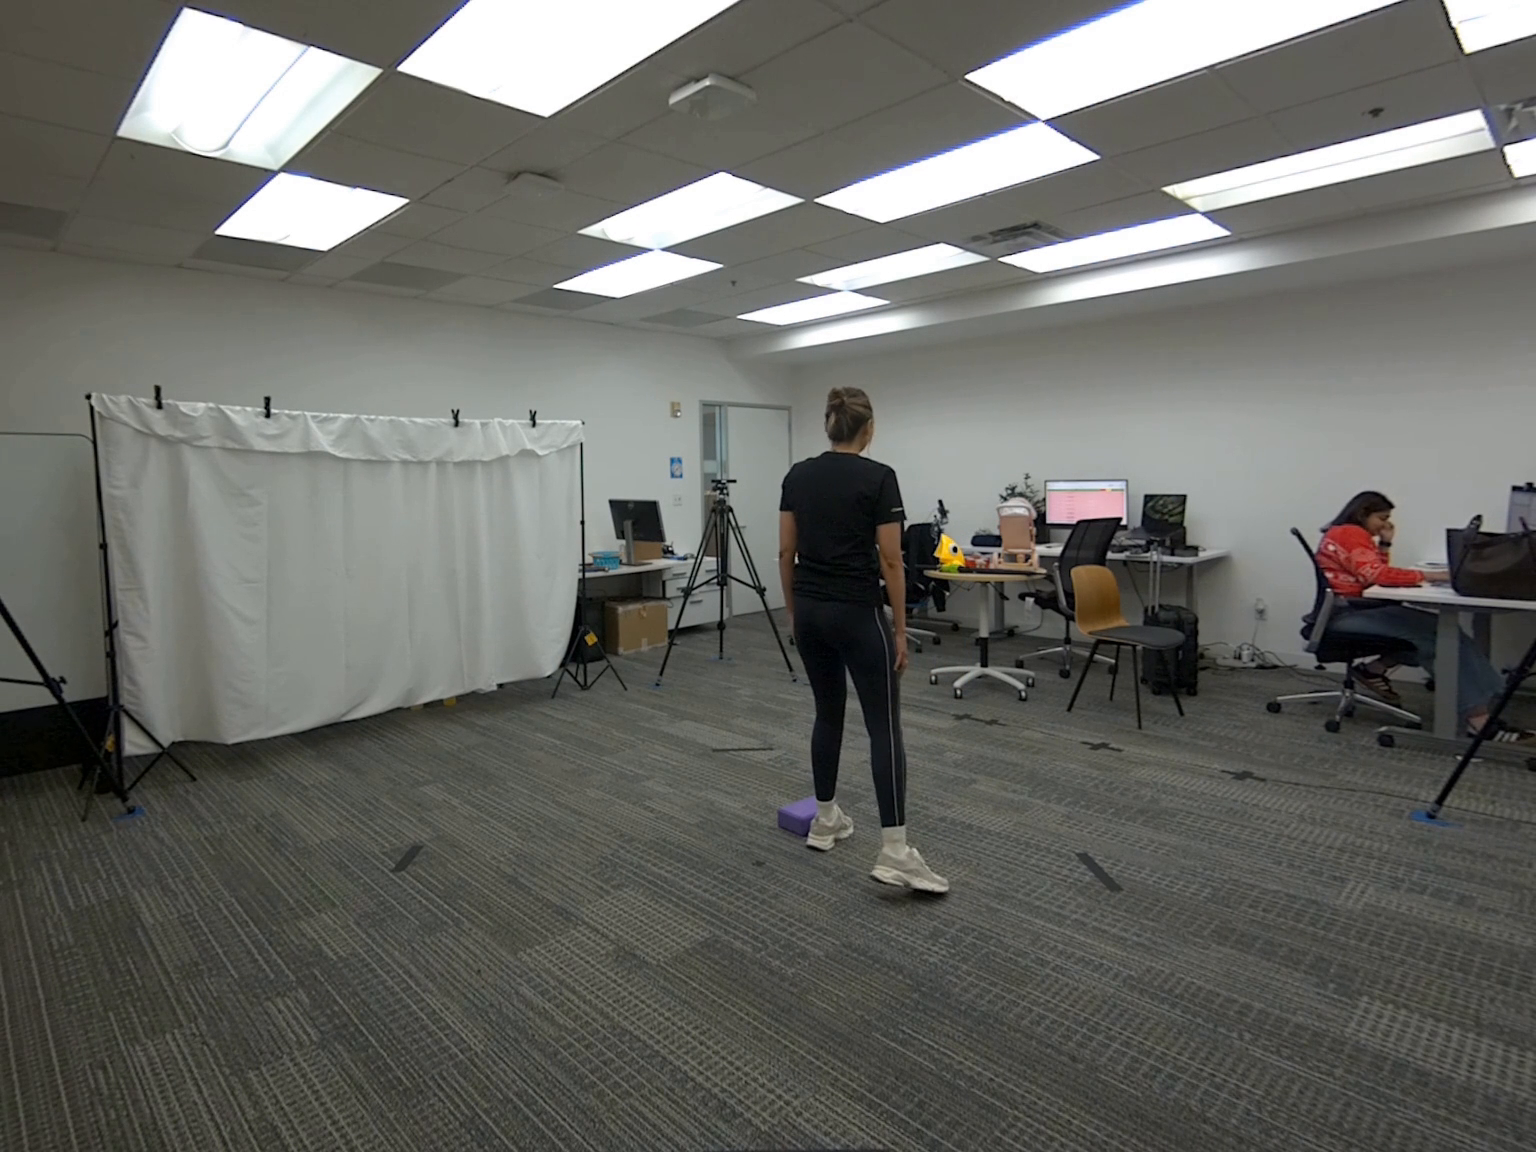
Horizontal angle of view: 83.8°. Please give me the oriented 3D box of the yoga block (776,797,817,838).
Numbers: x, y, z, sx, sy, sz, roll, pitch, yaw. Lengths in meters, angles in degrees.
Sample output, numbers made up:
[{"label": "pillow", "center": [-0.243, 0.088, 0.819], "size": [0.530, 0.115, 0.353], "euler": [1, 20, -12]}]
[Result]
[{"label": "yoga block", "center": [0.169, 0.962, 3.451], "size": [0.223, 0.076, 0.153], "euler": [-6, 7, -42]}]
